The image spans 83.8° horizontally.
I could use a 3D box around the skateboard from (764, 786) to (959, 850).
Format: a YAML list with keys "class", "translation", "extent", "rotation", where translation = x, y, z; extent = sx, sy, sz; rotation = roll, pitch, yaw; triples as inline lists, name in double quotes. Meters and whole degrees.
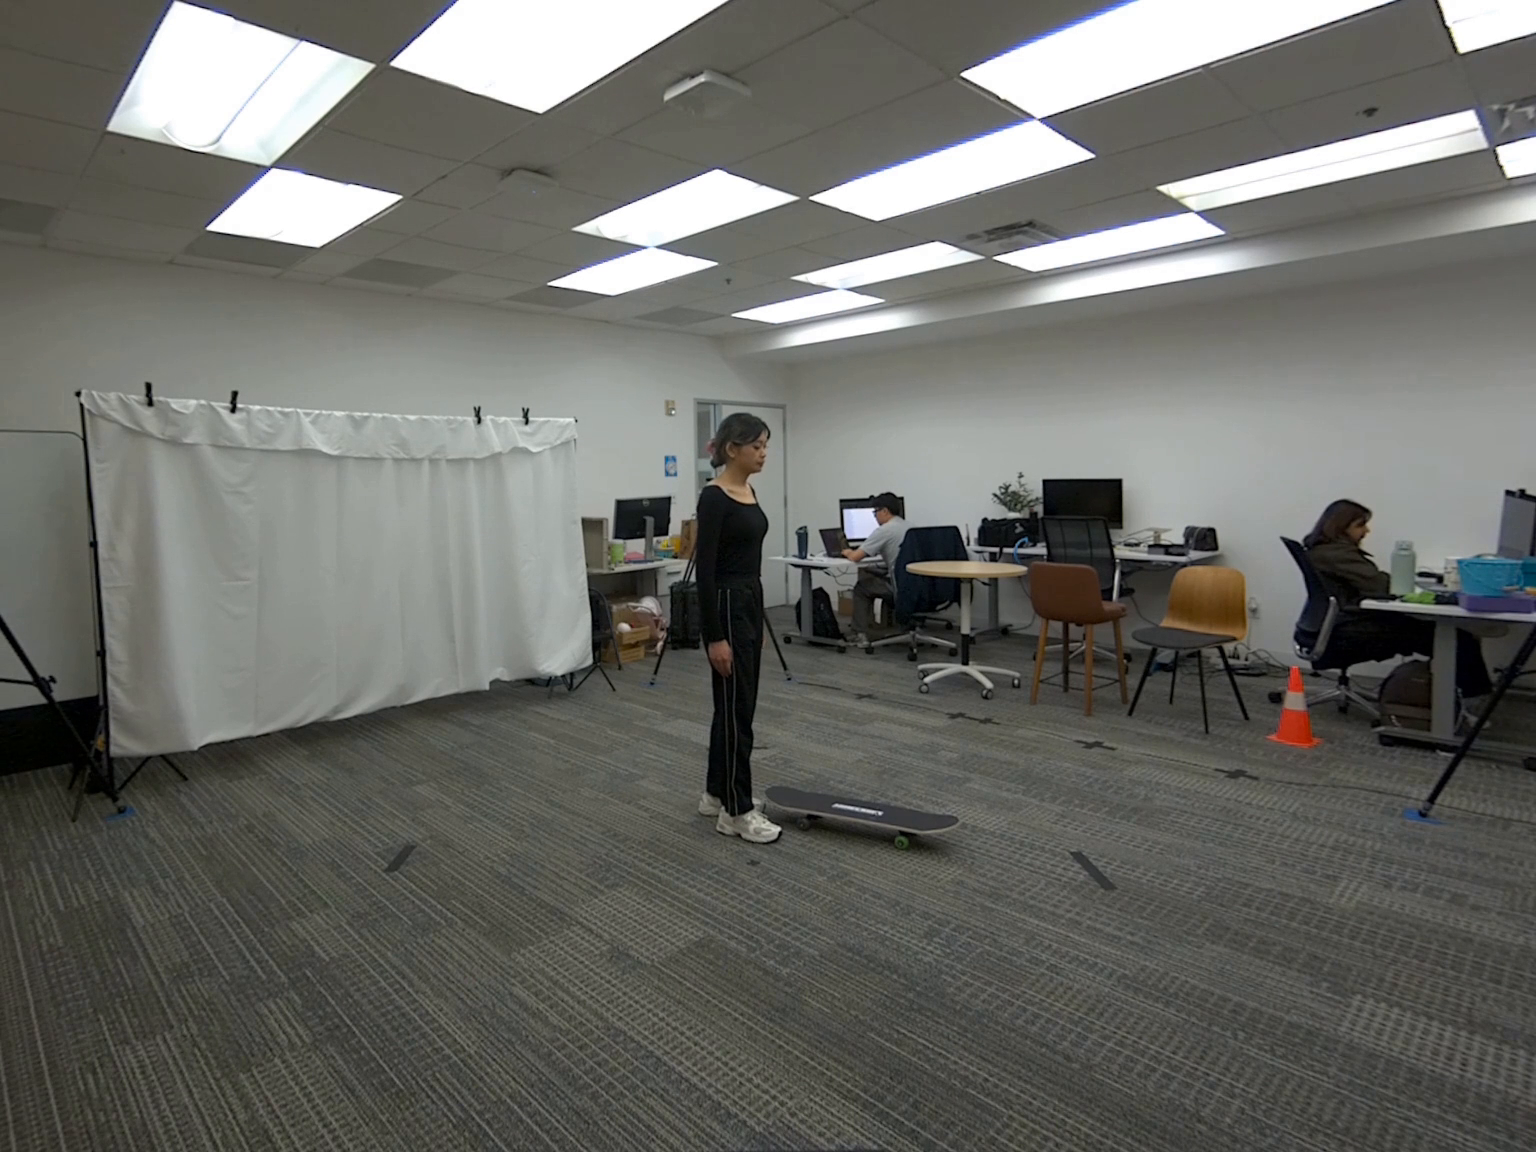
- class: "skateboard"
  translation: [0.355, 0.954, 3.360]
  extent: [0.805, 0.110, 0.189]
  rotation: [2, 6, 28]
